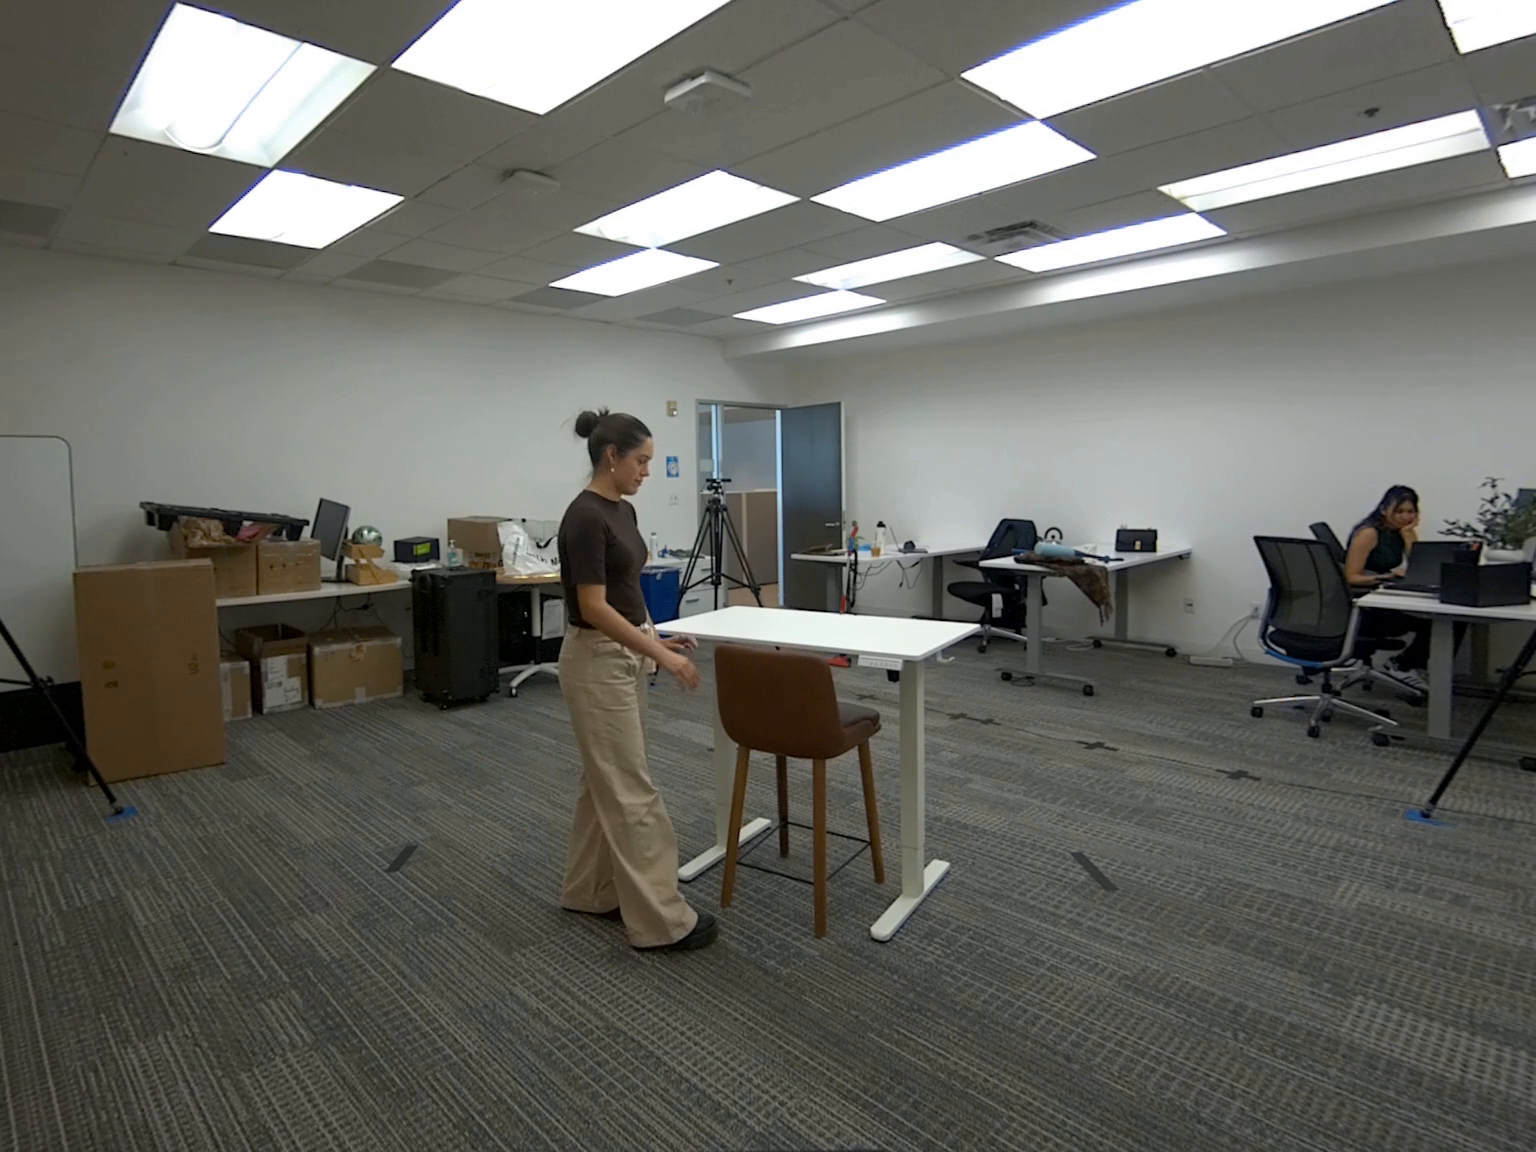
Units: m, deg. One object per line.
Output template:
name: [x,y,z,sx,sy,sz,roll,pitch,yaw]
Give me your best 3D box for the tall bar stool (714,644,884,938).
tall bar stool: [0.107,0.639,2.847,0.469,0.886,0.457,2,6,32]
